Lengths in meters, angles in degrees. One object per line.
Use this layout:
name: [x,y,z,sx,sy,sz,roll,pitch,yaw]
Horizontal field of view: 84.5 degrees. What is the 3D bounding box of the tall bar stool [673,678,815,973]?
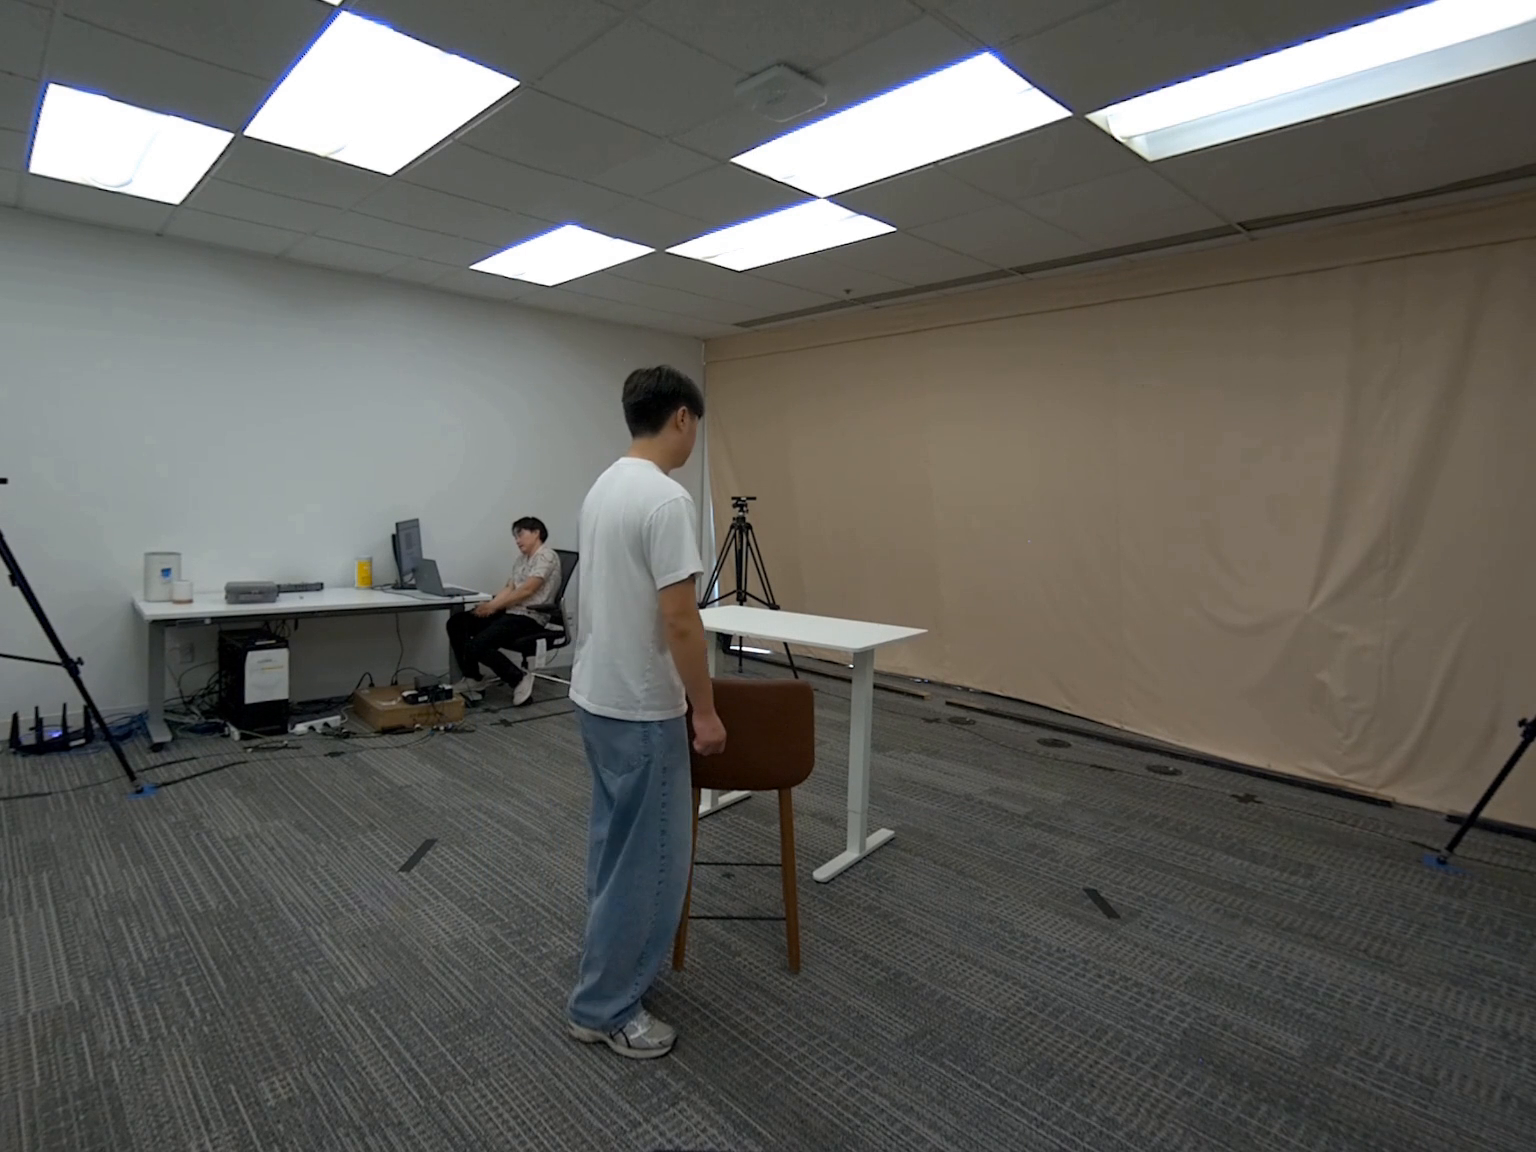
tall bar stool: [-0.105,0.712,2.664,0.455,0.886,0.471,1,6,-4]
